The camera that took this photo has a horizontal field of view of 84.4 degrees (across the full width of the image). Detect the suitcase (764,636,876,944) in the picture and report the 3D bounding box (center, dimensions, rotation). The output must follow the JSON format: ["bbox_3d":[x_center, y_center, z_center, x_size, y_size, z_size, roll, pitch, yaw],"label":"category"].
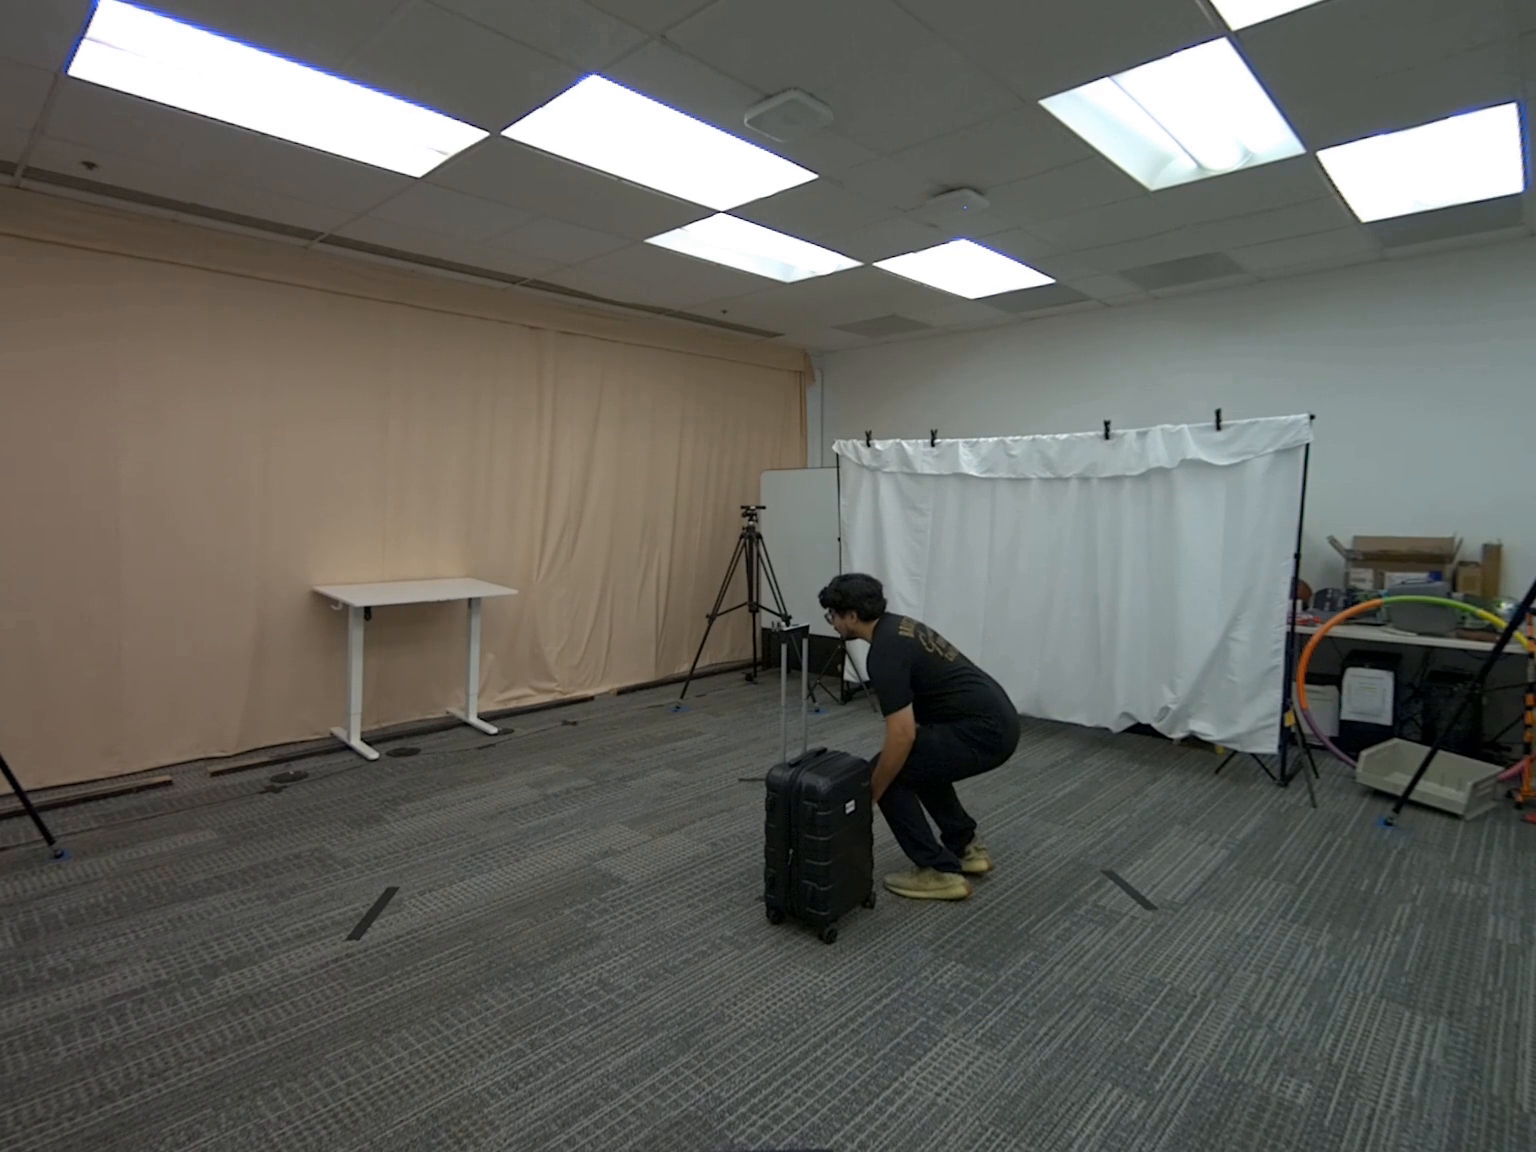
[{"bbox_3d":[0.177,0.680,2.823,0.265,0.976,0.373,4,5,35],"label":"suitcase"}]
